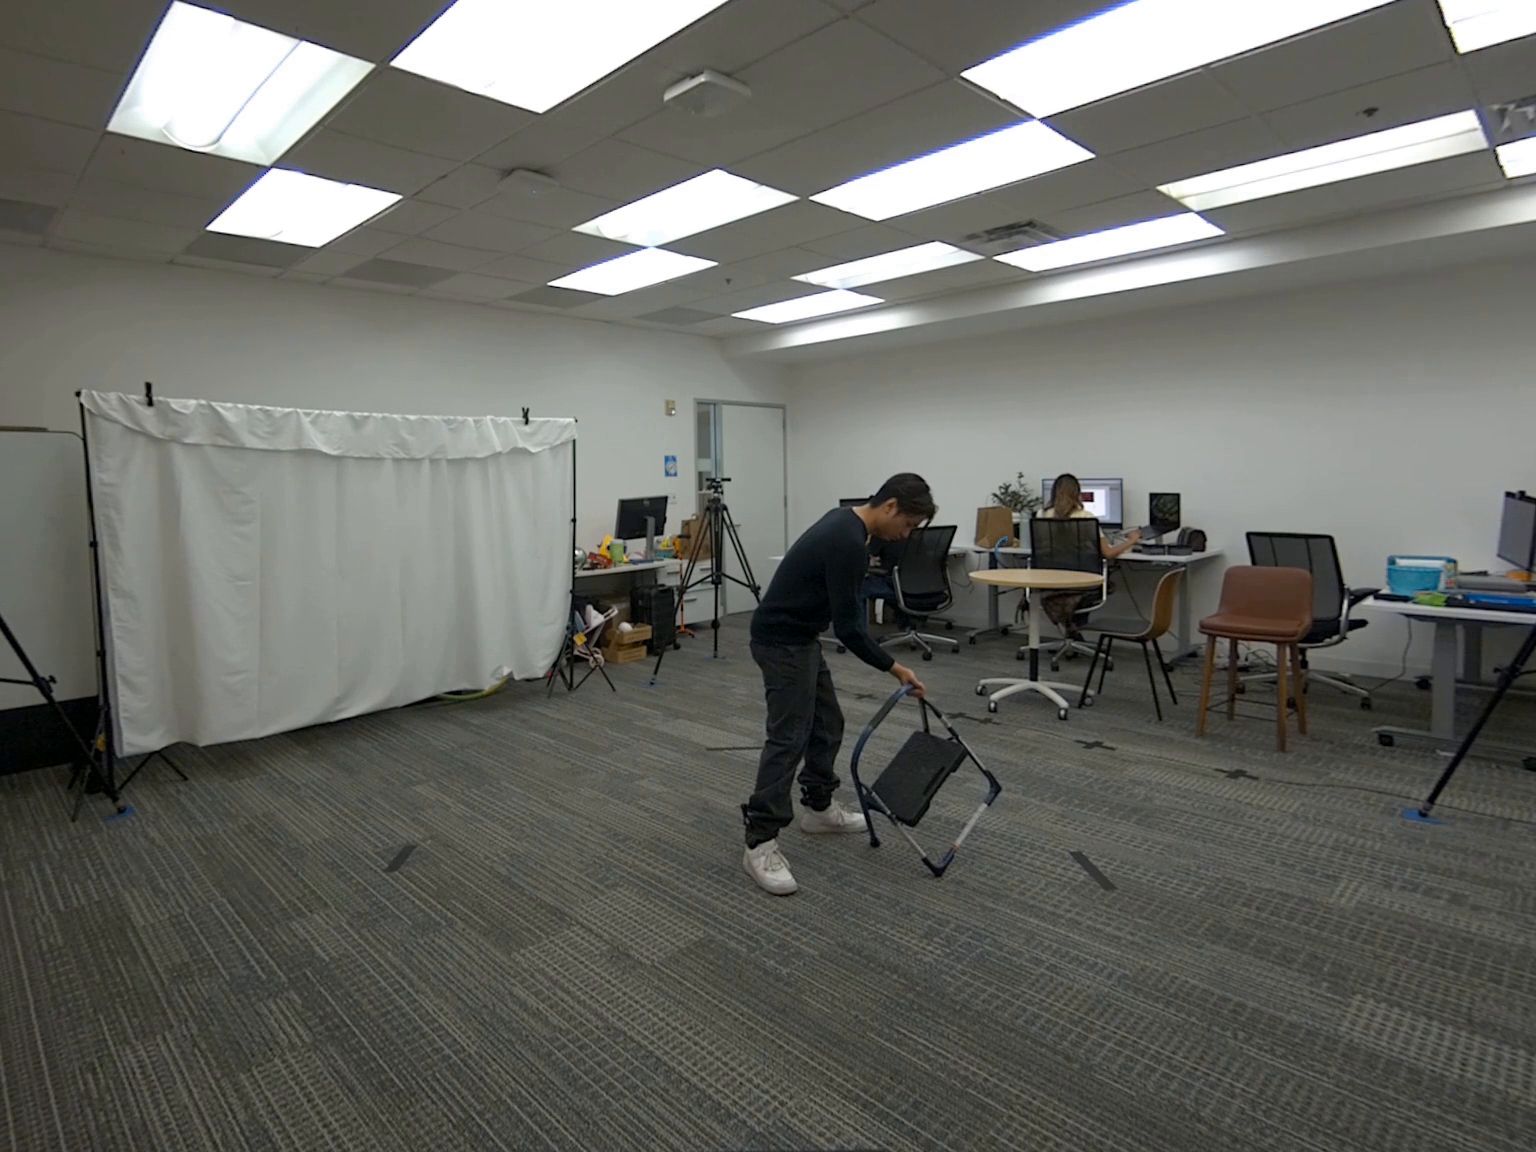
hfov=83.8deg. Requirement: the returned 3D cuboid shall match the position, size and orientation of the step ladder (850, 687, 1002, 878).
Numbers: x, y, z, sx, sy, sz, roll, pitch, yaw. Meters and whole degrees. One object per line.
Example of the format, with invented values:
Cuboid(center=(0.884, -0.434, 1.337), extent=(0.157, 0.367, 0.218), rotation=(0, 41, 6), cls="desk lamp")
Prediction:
Cuboid(center=(0.482, 0.668, 3.064), extent=(0.430, 0.589, 0.360), rotation=(-46, 28, -25), cls="step ladder")
